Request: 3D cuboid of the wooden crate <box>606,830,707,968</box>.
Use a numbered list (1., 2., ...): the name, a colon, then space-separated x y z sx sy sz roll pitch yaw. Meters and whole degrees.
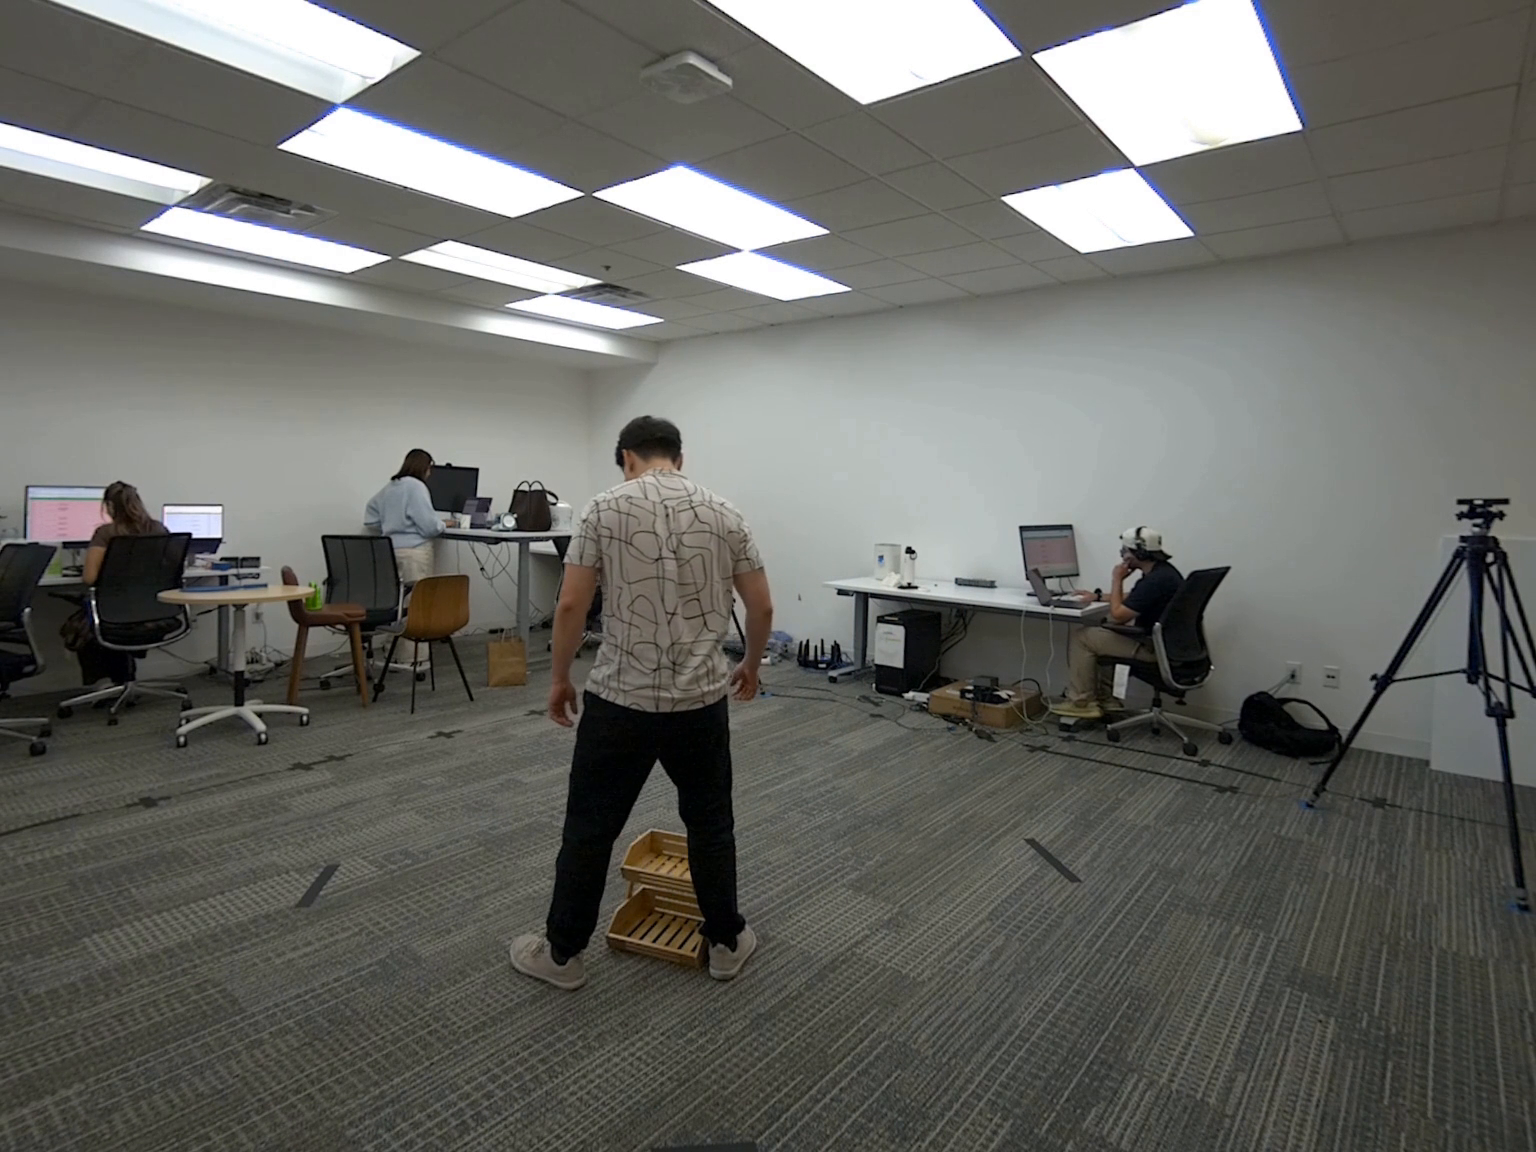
1. wooden crate: -0.305 0.982 2.622 0.332 0.272 0.296 2 4 21
